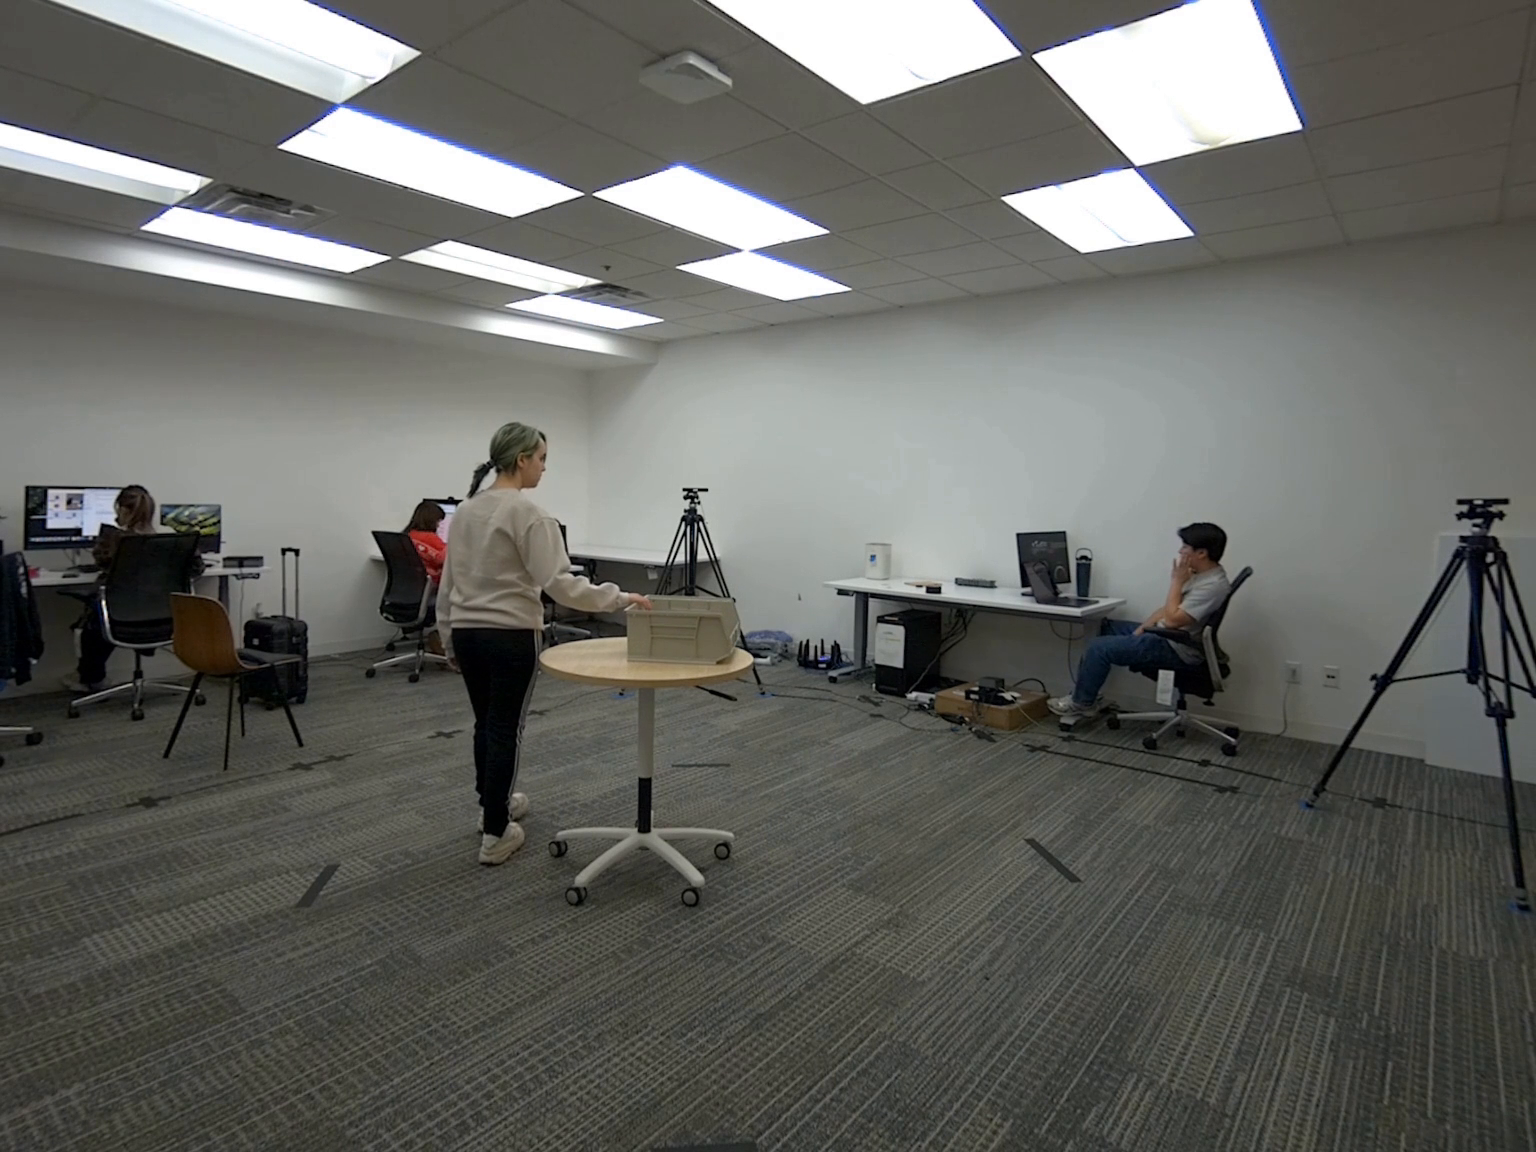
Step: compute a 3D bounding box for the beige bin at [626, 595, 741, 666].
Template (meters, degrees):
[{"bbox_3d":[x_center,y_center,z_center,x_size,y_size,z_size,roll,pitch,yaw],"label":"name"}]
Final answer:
[{"bbox_3d":[-0.314,0.188,3.130,0.380,0.188,0.422,-1,6,5],"label":"beige bin"}]
